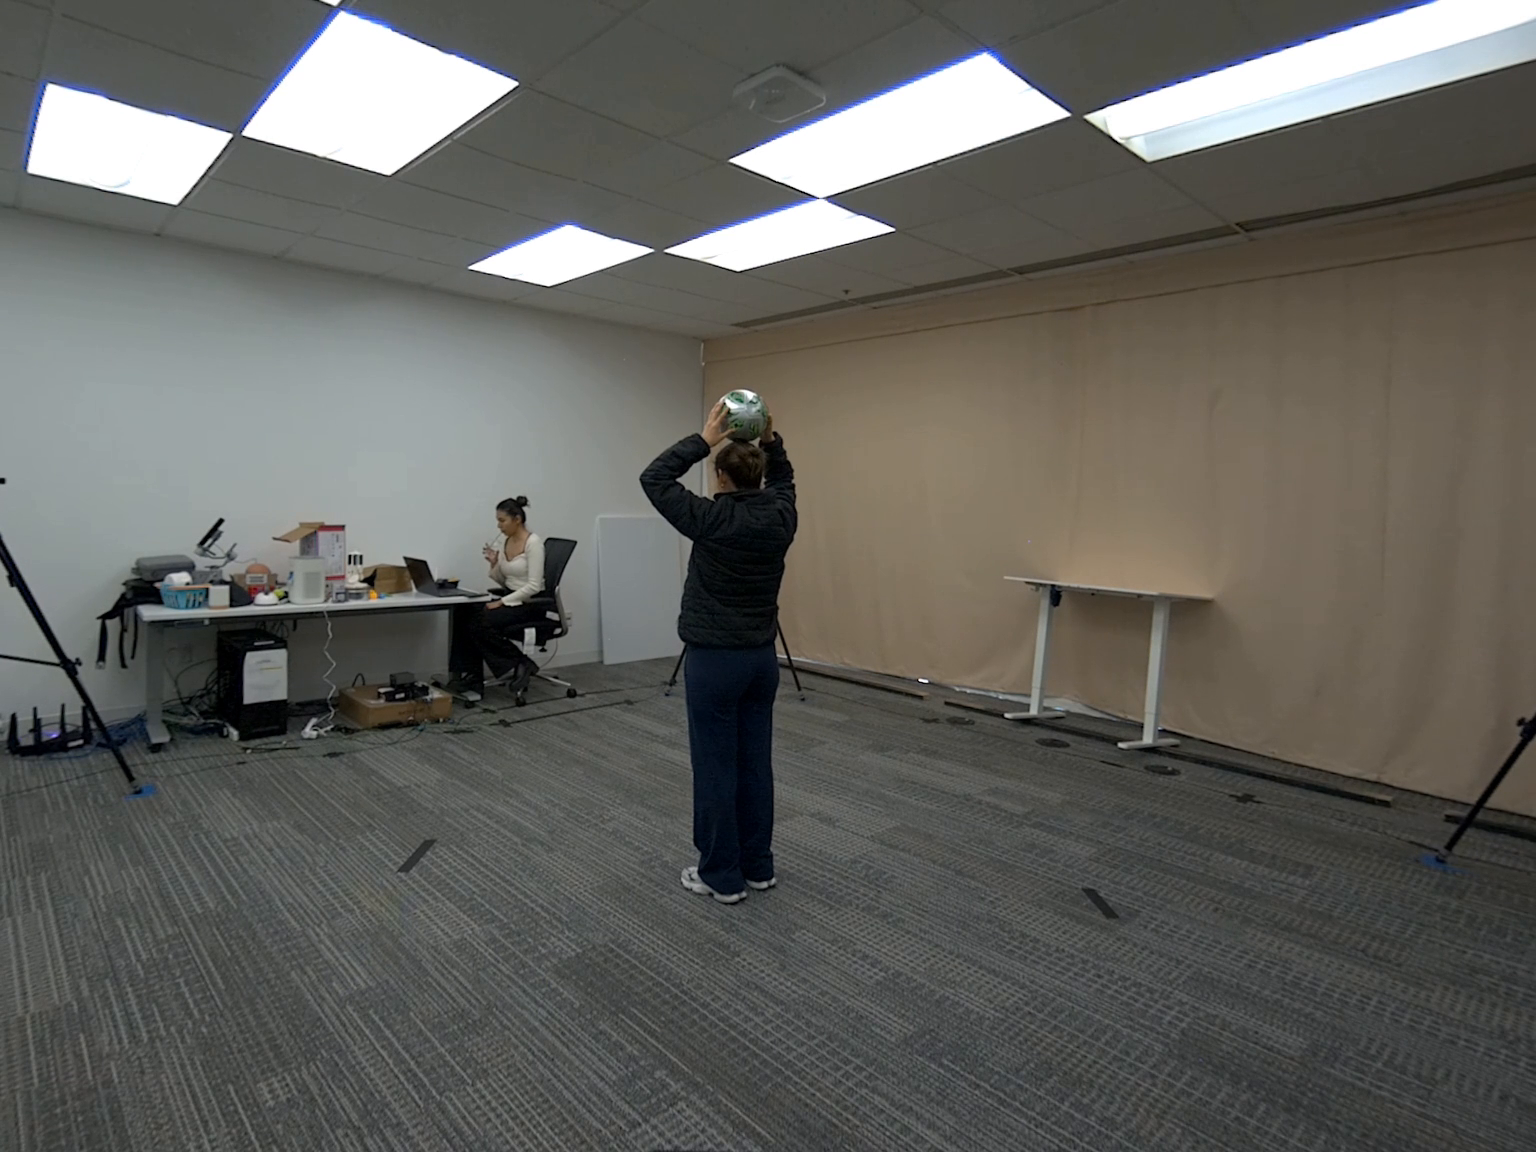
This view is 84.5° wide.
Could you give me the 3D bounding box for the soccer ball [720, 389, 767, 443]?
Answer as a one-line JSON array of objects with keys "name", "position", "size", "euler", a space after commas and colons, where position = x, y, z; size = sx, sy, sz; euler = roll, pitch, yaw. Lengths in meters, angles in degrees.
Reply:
[{"name": "soccer ball", "position": [-0.098, -0.564, 2.982], "size": [0.187, 0.187, 0.188], "euler": [1, 4, -1]}]
